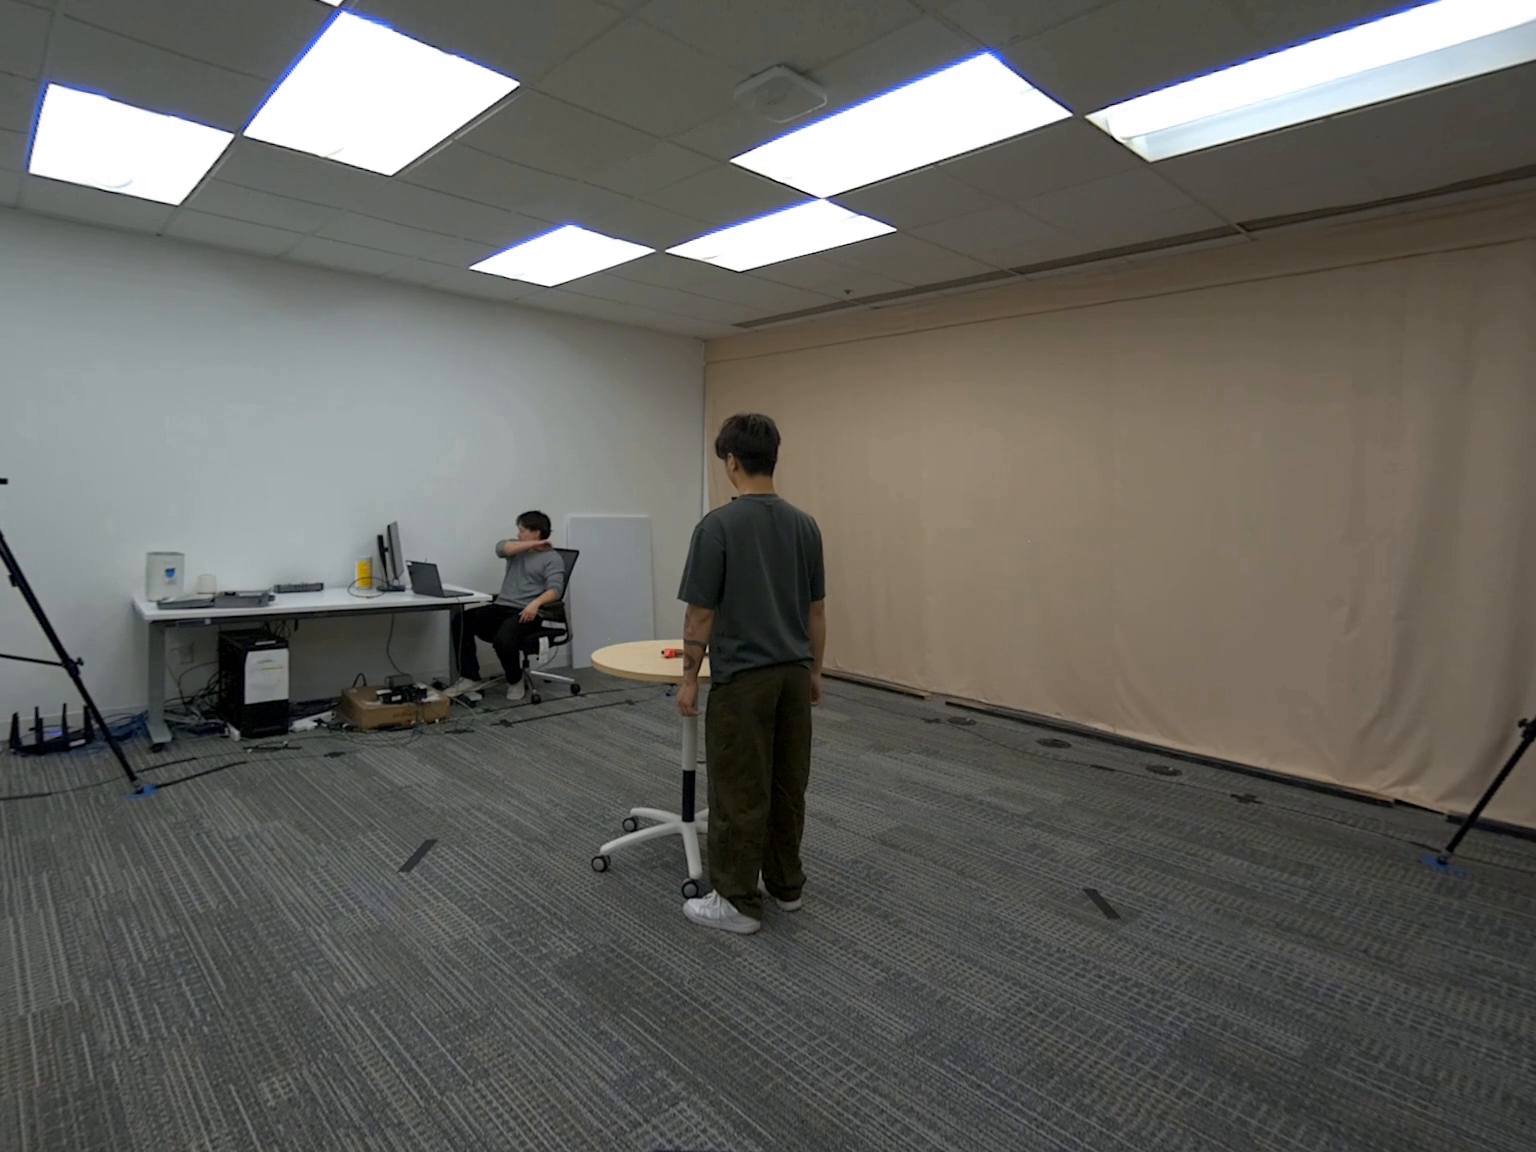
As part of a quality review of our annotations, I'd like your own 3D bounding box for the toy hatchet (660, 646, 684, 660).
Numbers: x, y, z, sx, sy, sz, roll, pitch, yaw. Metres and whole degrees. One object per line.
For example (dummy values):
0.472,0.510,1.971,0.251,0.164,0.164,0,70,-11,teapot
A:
-0.297,0.297,3.232,0.266,0.029,0.133,2,0,-18,toy hatchet
